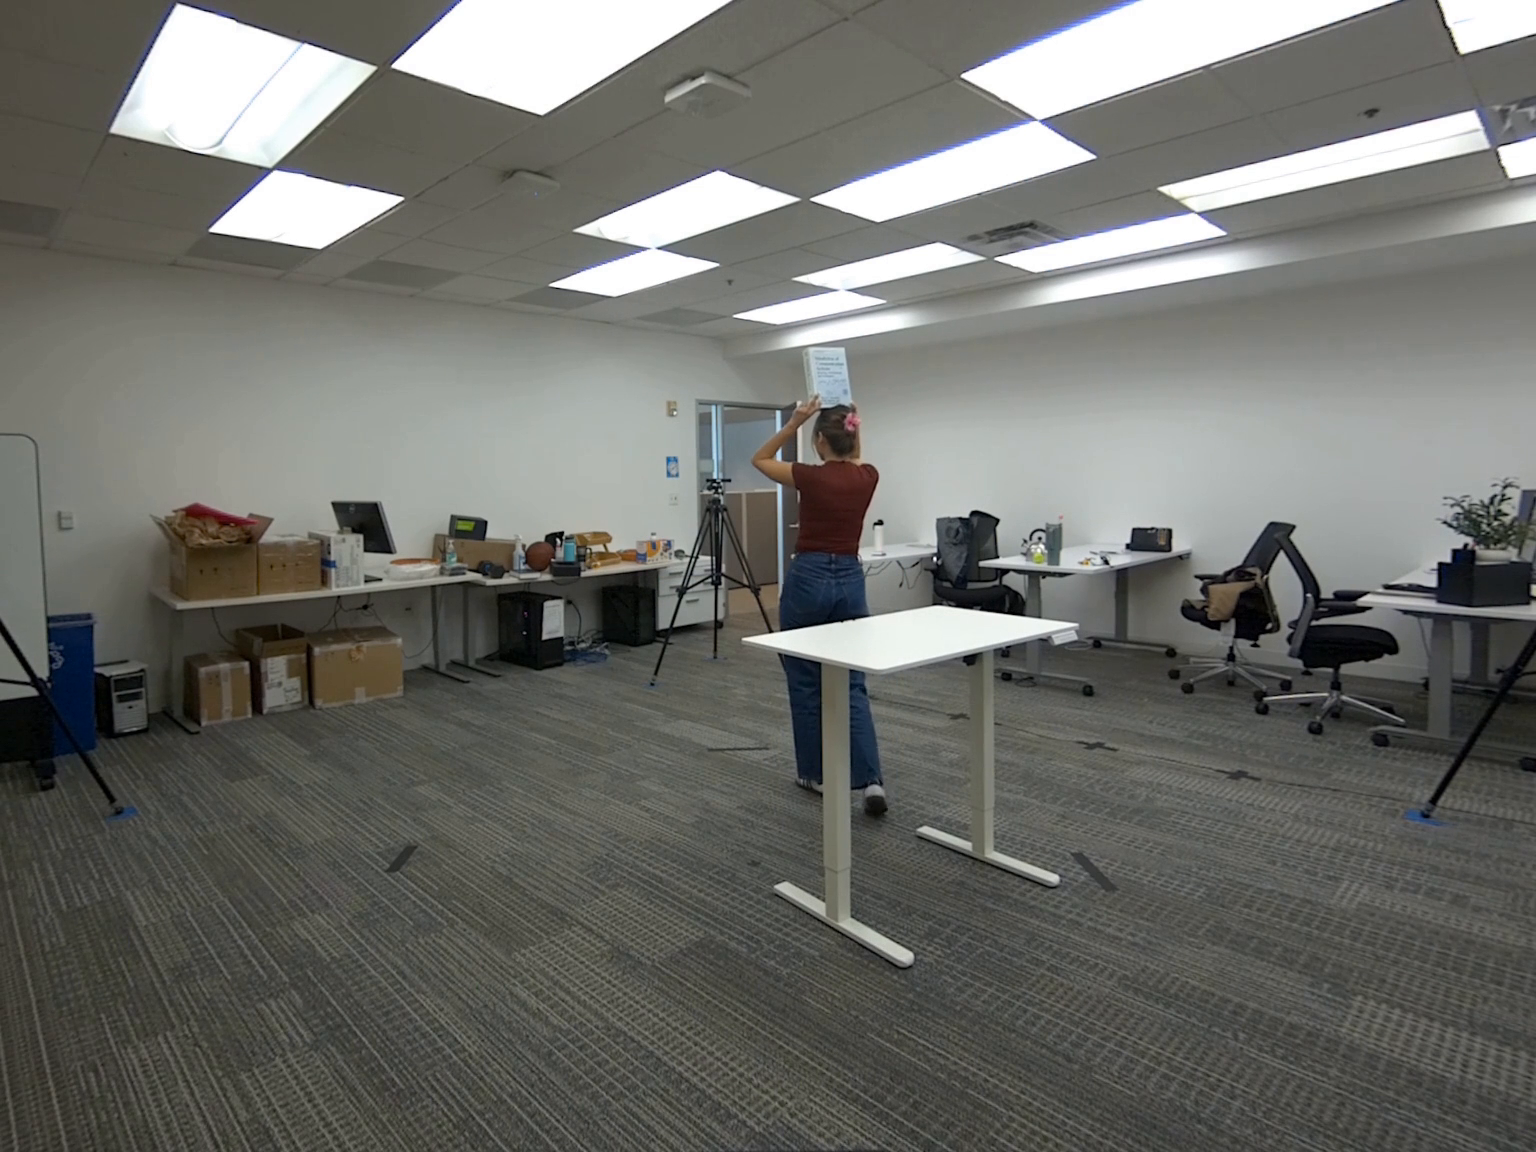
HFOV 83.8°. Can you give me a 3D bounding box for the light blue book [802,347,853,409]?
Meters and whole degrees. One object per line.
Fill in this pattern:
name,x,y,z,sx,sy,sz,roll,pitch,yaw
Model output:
light blue book,0.256,-0.843,3.664,0.187,0.262,0.060,-6,-4,-29
